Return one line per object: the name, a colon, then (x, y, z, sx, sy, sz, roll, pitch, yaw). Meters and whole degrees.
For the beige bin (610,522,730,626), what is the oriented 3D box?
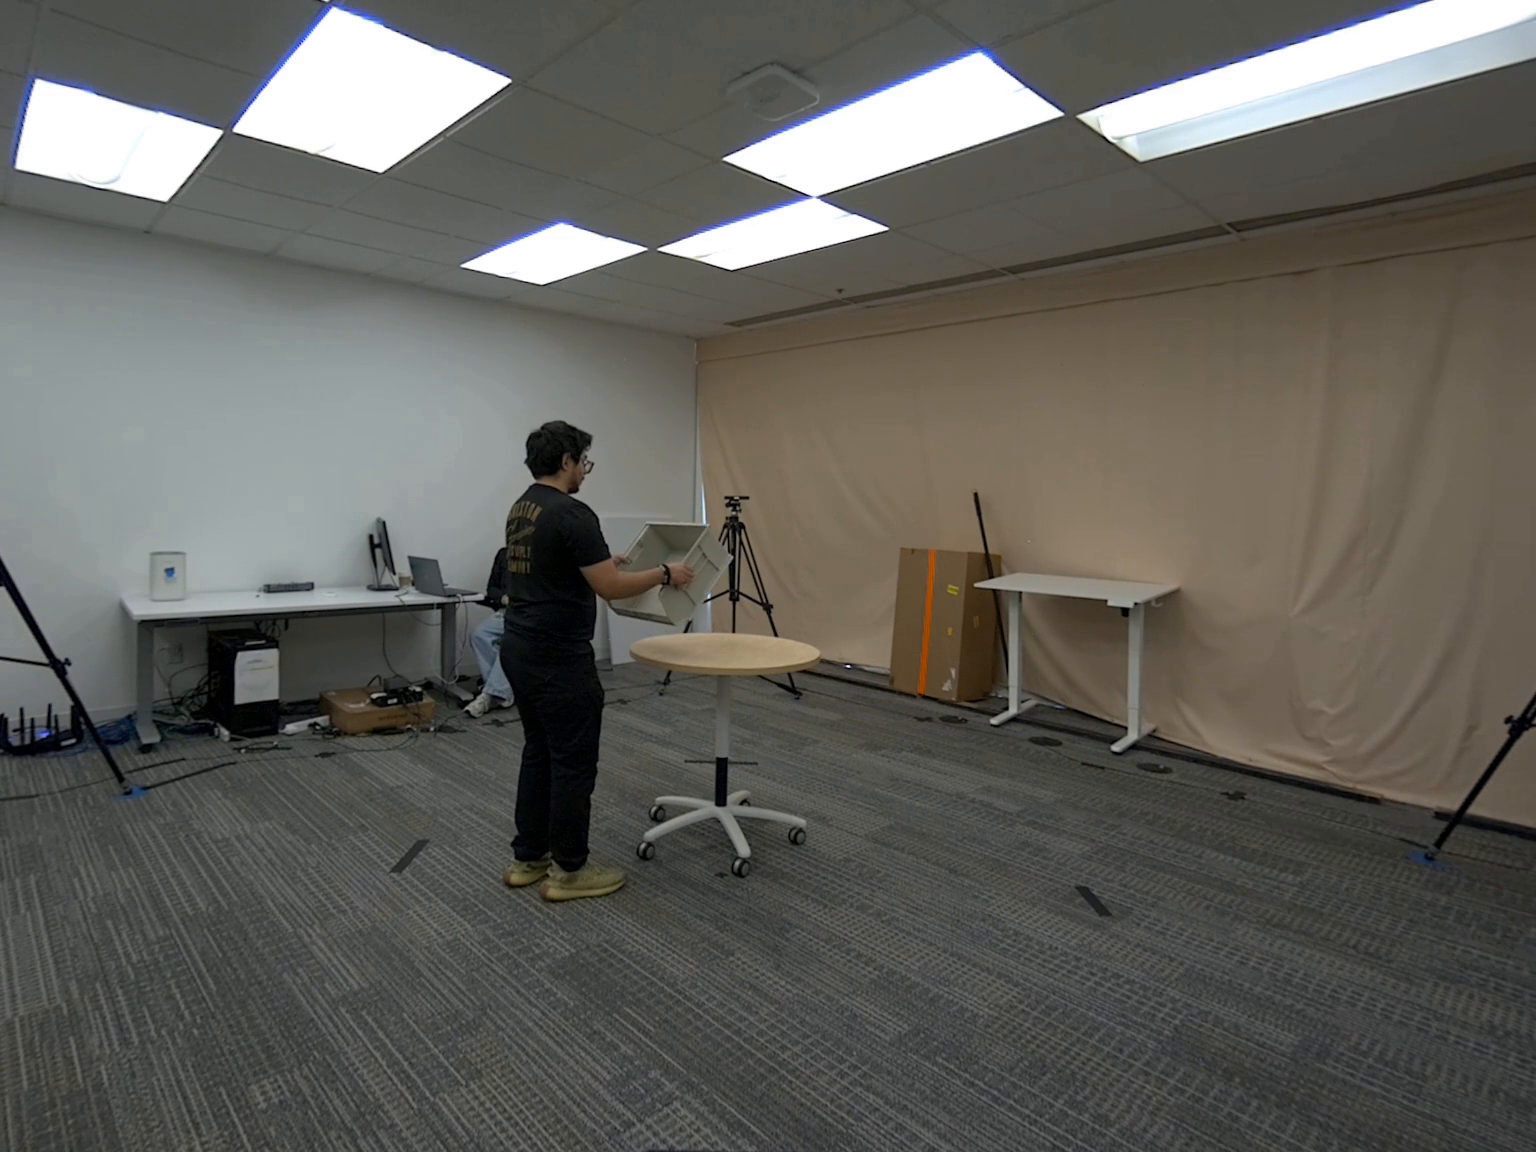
beige bin: (-0.409, -0.002, 3.292, 0.433, 0.378, 0.184, 5, -37, 49)
